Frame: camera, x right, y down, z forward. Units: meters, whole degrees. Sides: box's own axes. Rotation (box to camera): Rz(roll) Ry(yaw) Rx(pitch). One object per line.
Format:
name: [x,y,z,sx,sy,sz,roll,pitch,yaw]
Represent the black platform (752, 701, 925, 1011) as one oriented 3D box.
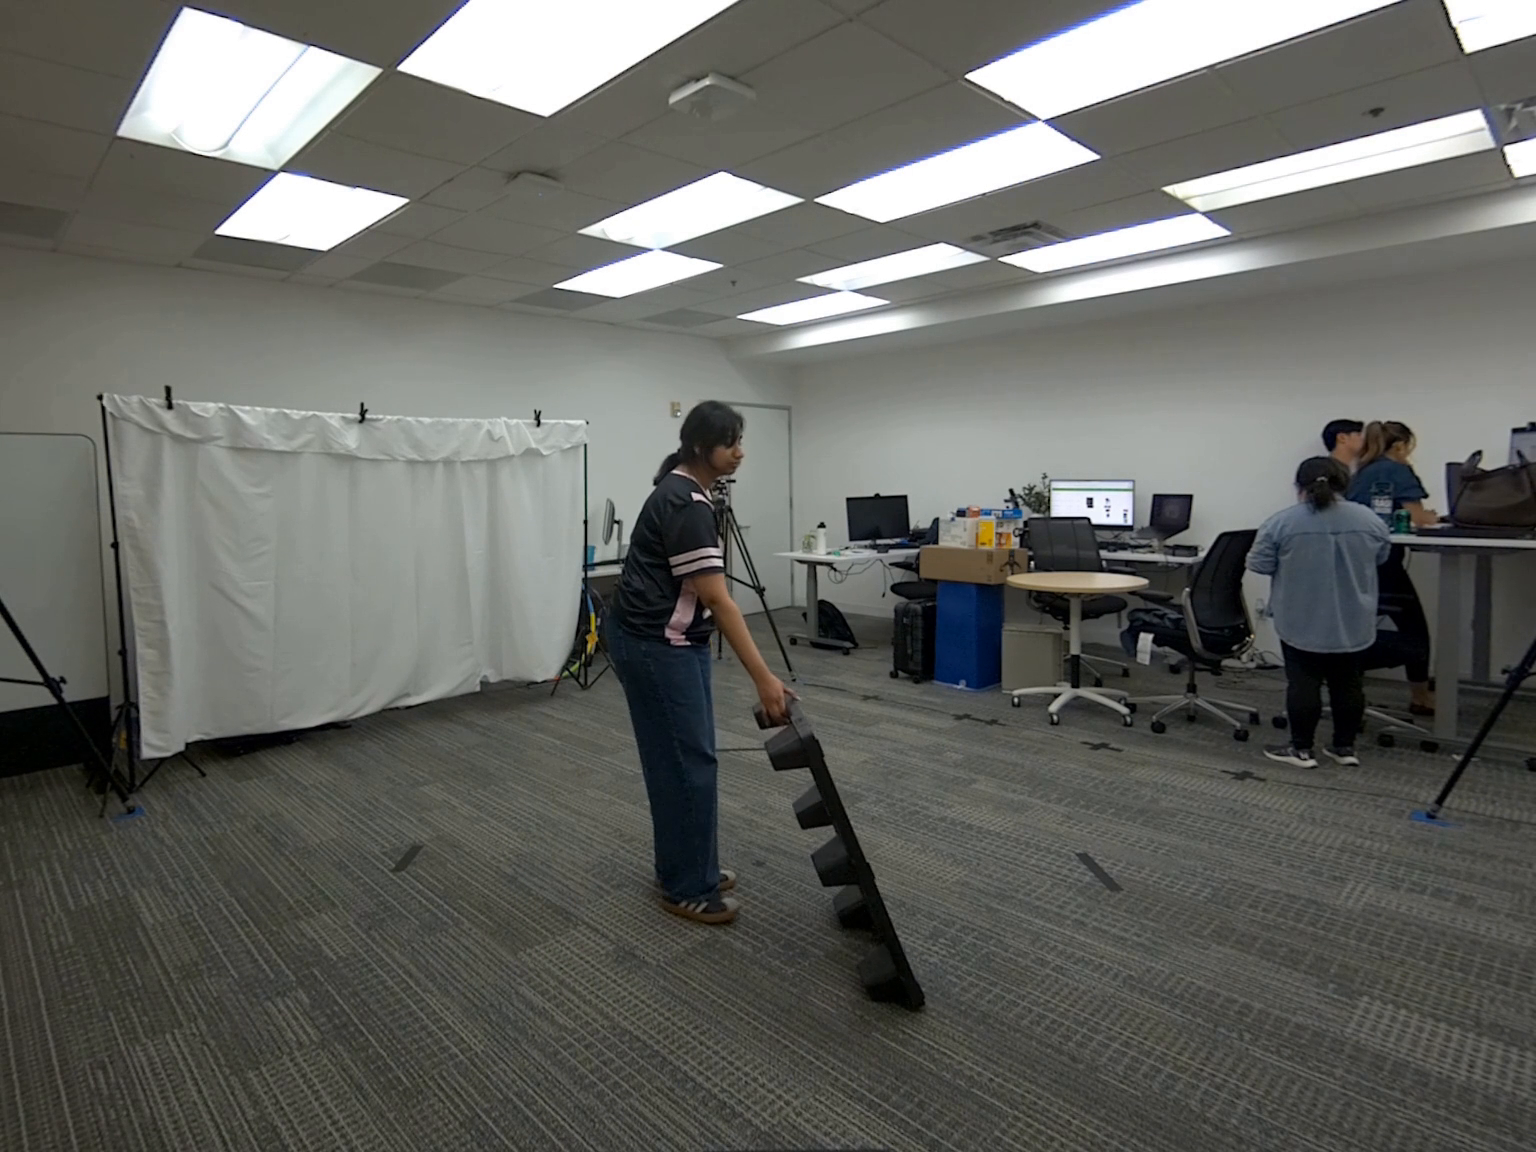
black platform: [0.180,0.748,2.484,0.143,0.801,0.610,-22,6,-4]
